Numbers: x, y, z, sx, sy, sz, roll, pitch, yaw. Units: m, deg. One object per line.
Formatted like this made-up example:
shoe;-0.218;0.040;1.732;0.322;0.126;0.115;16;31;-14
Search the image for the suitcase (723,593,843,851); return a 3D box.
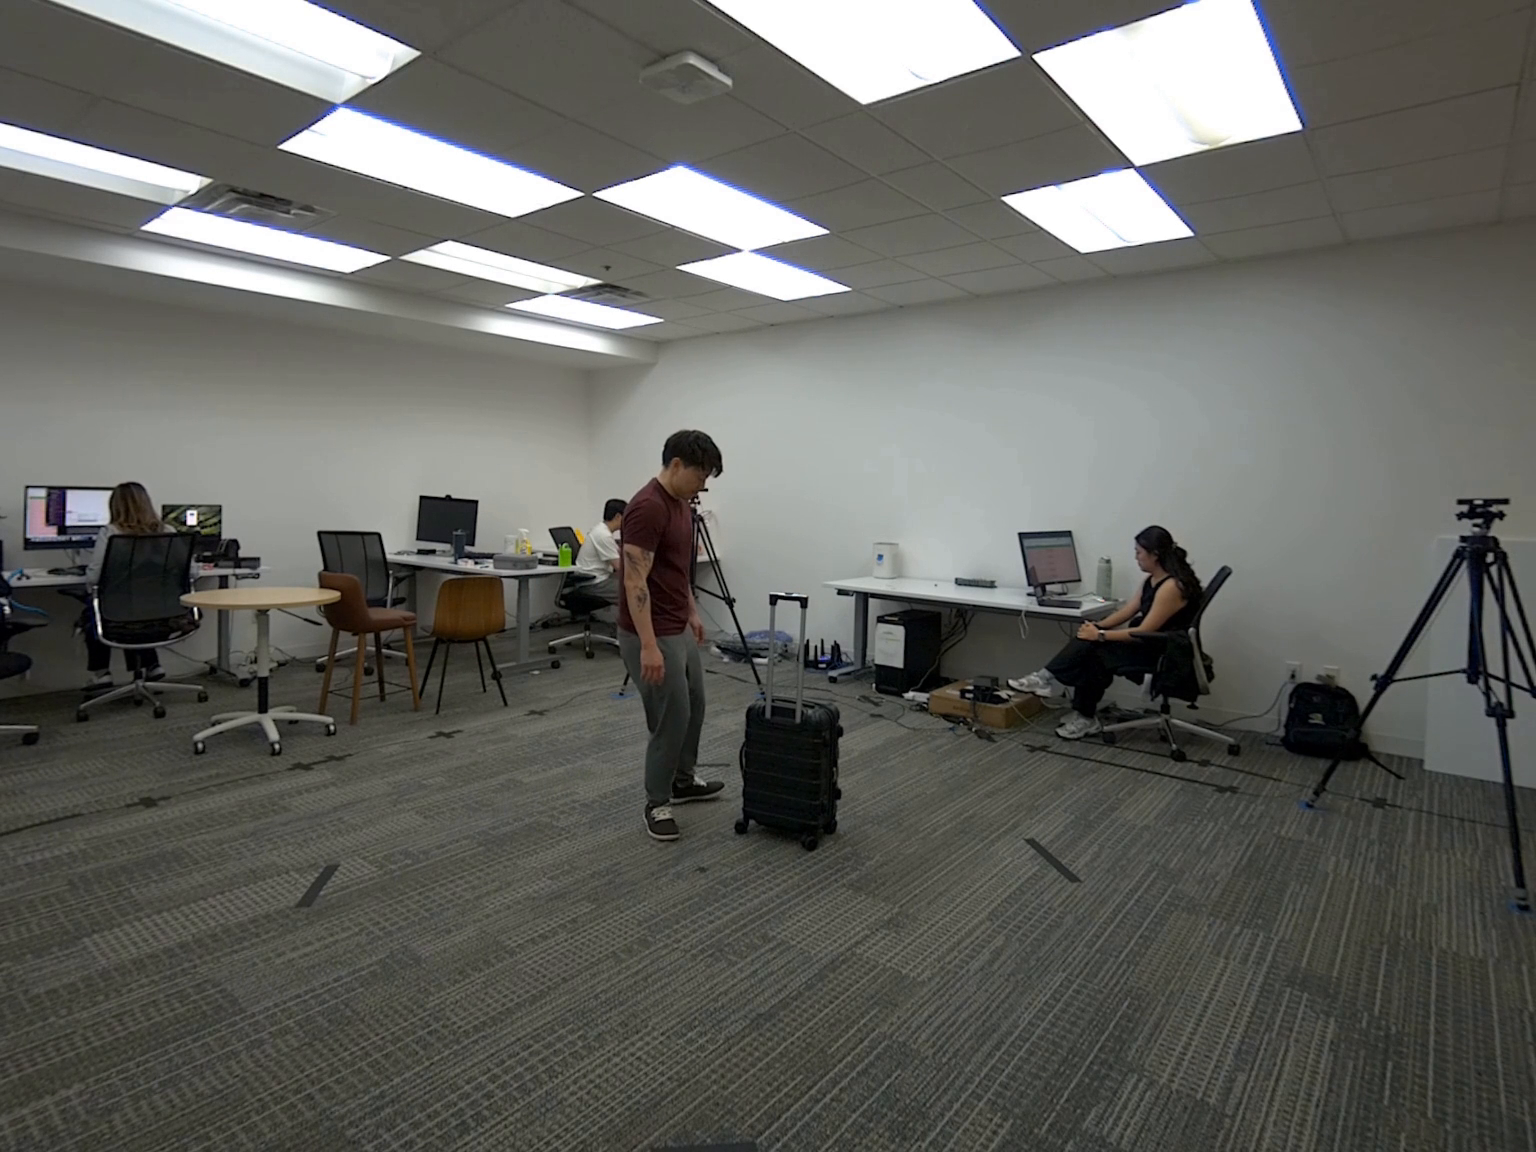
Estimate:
suitcase;0.092;0.565;3.462;0.394;0.978;0.250;3;0;26
